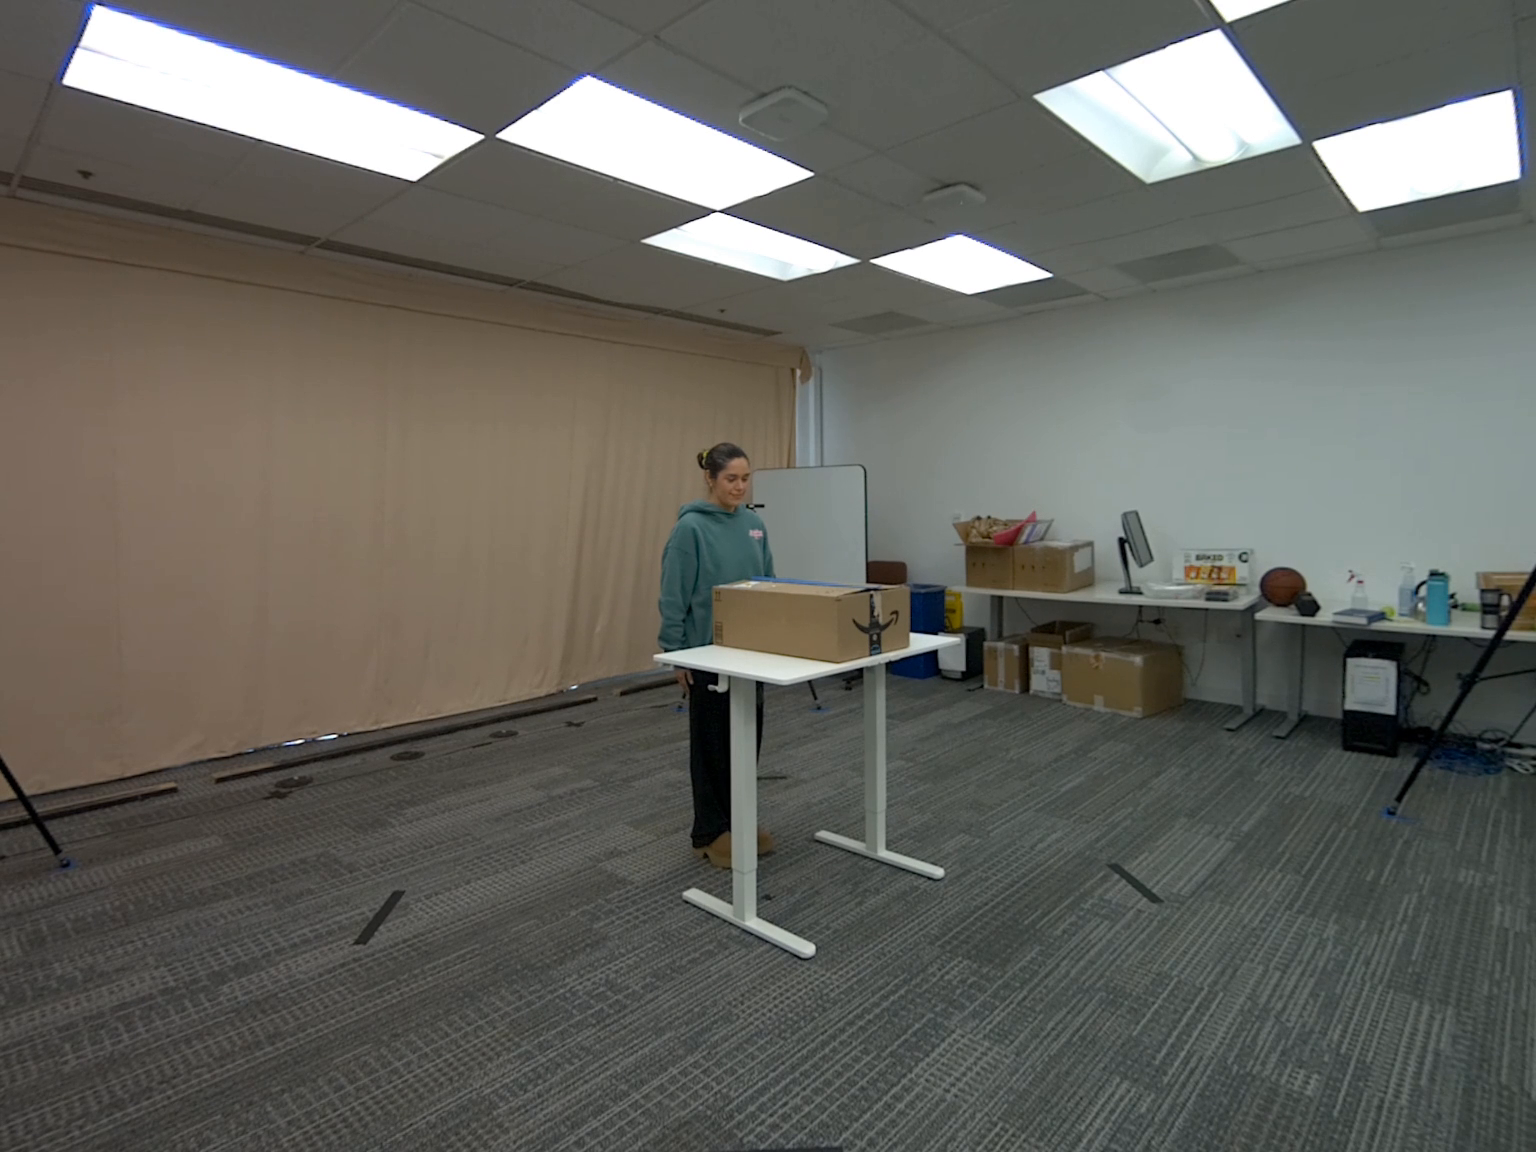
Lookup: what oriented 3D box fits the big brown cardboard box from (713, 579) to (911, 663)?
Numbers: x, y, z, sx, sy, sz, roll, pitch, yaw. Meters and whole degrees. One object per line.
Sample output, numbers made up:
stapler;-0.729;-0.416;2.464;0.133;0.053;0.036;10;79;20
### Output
big brown cardboard box;0.151;0.142;3.010;0.609;0.232;0.405;5;7;43
